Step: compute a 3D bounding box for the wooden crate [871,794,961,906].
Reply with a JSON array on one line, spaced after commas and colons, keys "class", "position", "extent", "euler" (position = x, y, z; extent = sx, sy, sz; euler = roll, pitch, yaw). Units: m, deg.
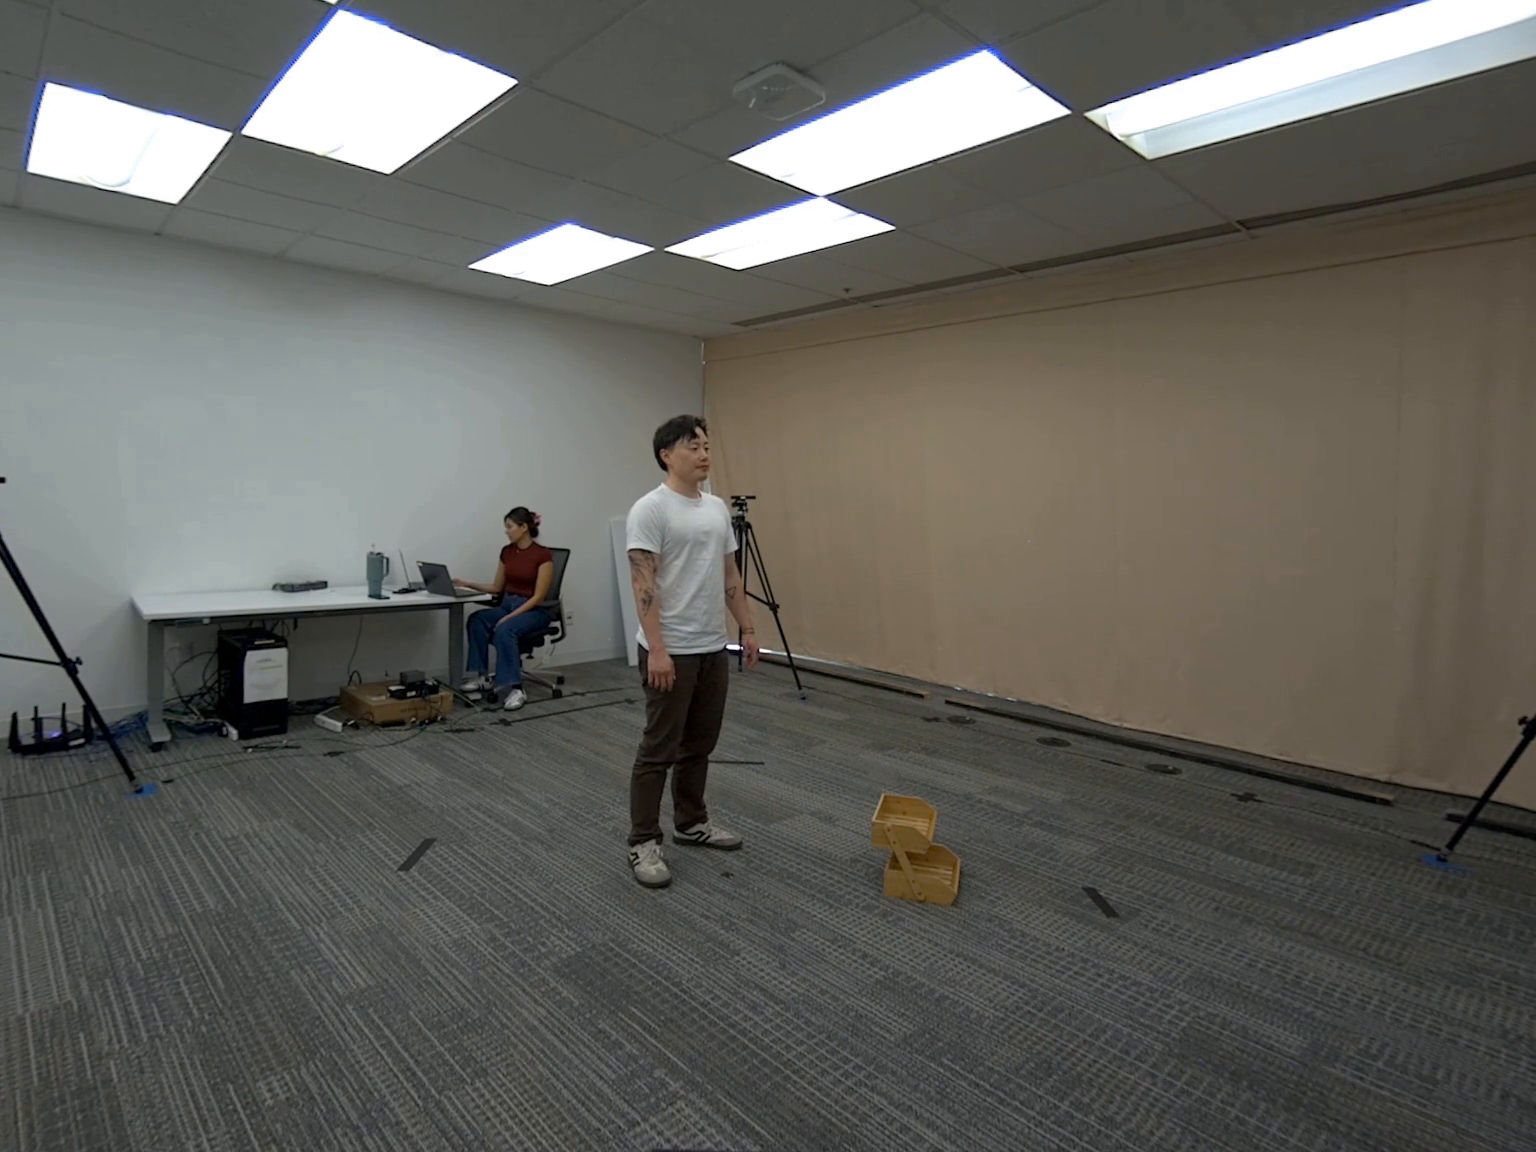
[{"class": "wooden crate", "position": [0.544, 0.991, 3.074], "extent": [0.306, 0.272, 0.321], "euler": [3, 4, 15]}]
